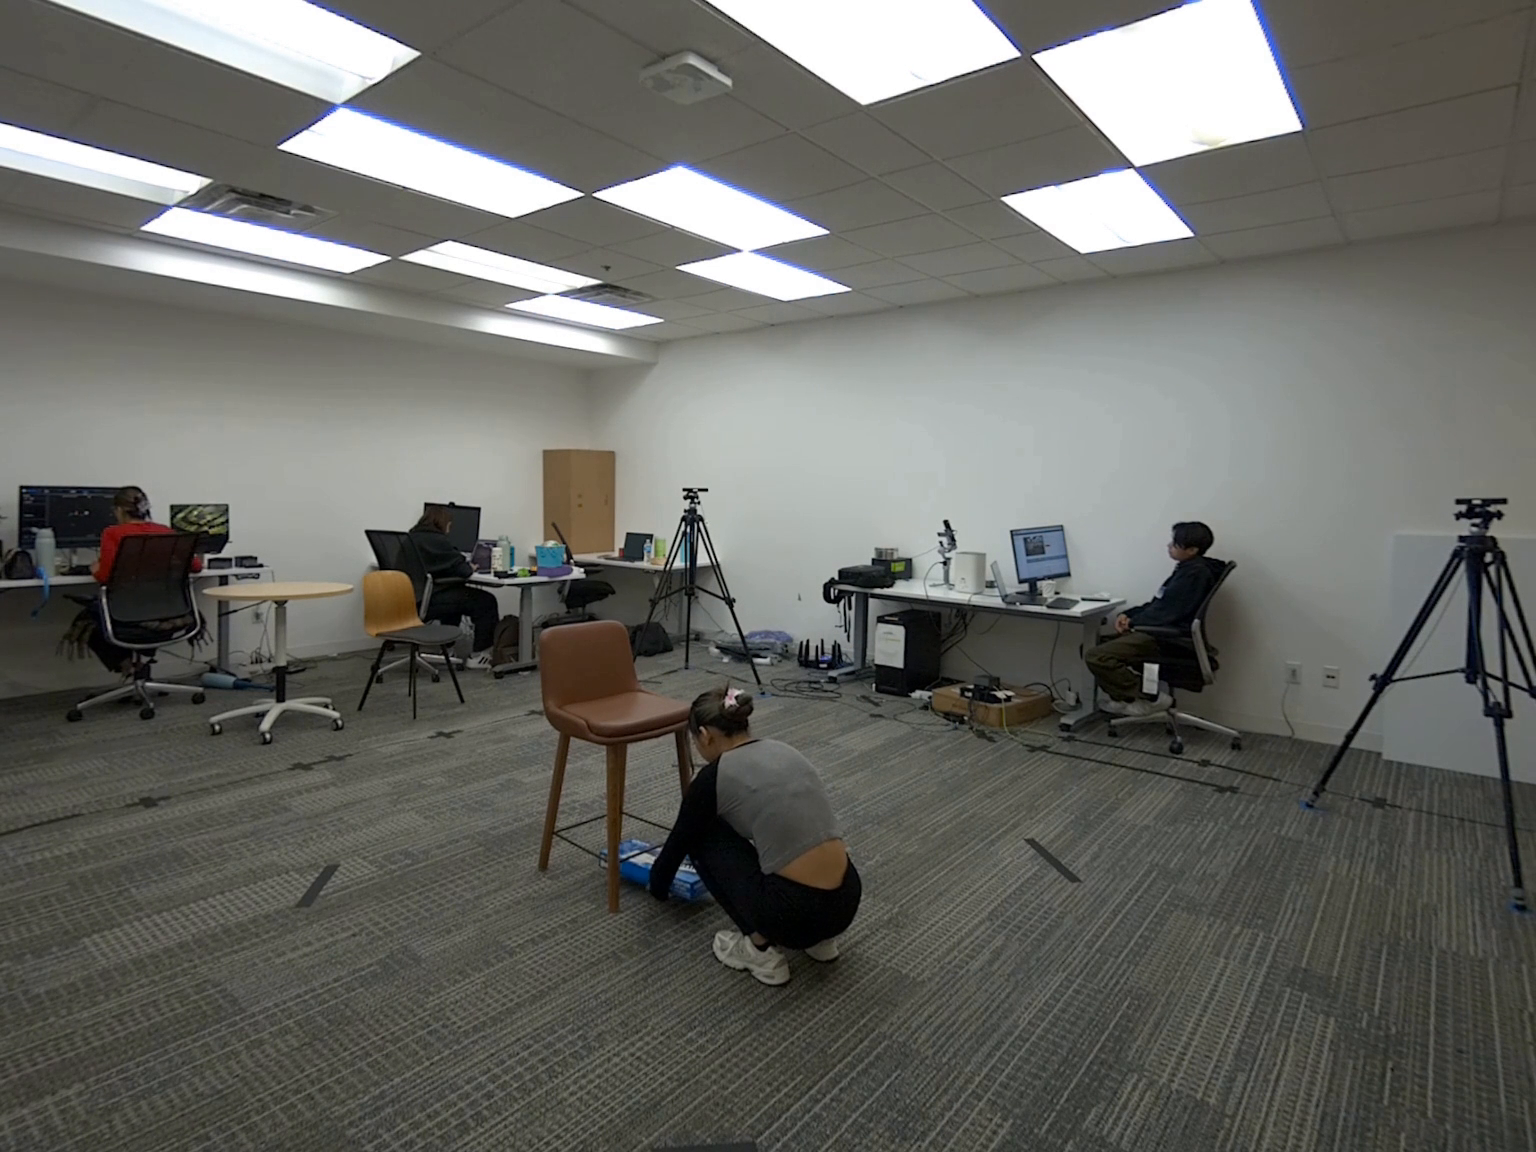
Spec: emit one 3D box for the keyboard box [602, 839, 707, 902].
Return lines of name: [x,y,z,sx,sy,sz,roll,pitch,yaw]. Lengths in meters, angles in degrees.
keyboard box: [-0.385,1.005,2.933,0.451,0.059,0.170,2,2,39]
